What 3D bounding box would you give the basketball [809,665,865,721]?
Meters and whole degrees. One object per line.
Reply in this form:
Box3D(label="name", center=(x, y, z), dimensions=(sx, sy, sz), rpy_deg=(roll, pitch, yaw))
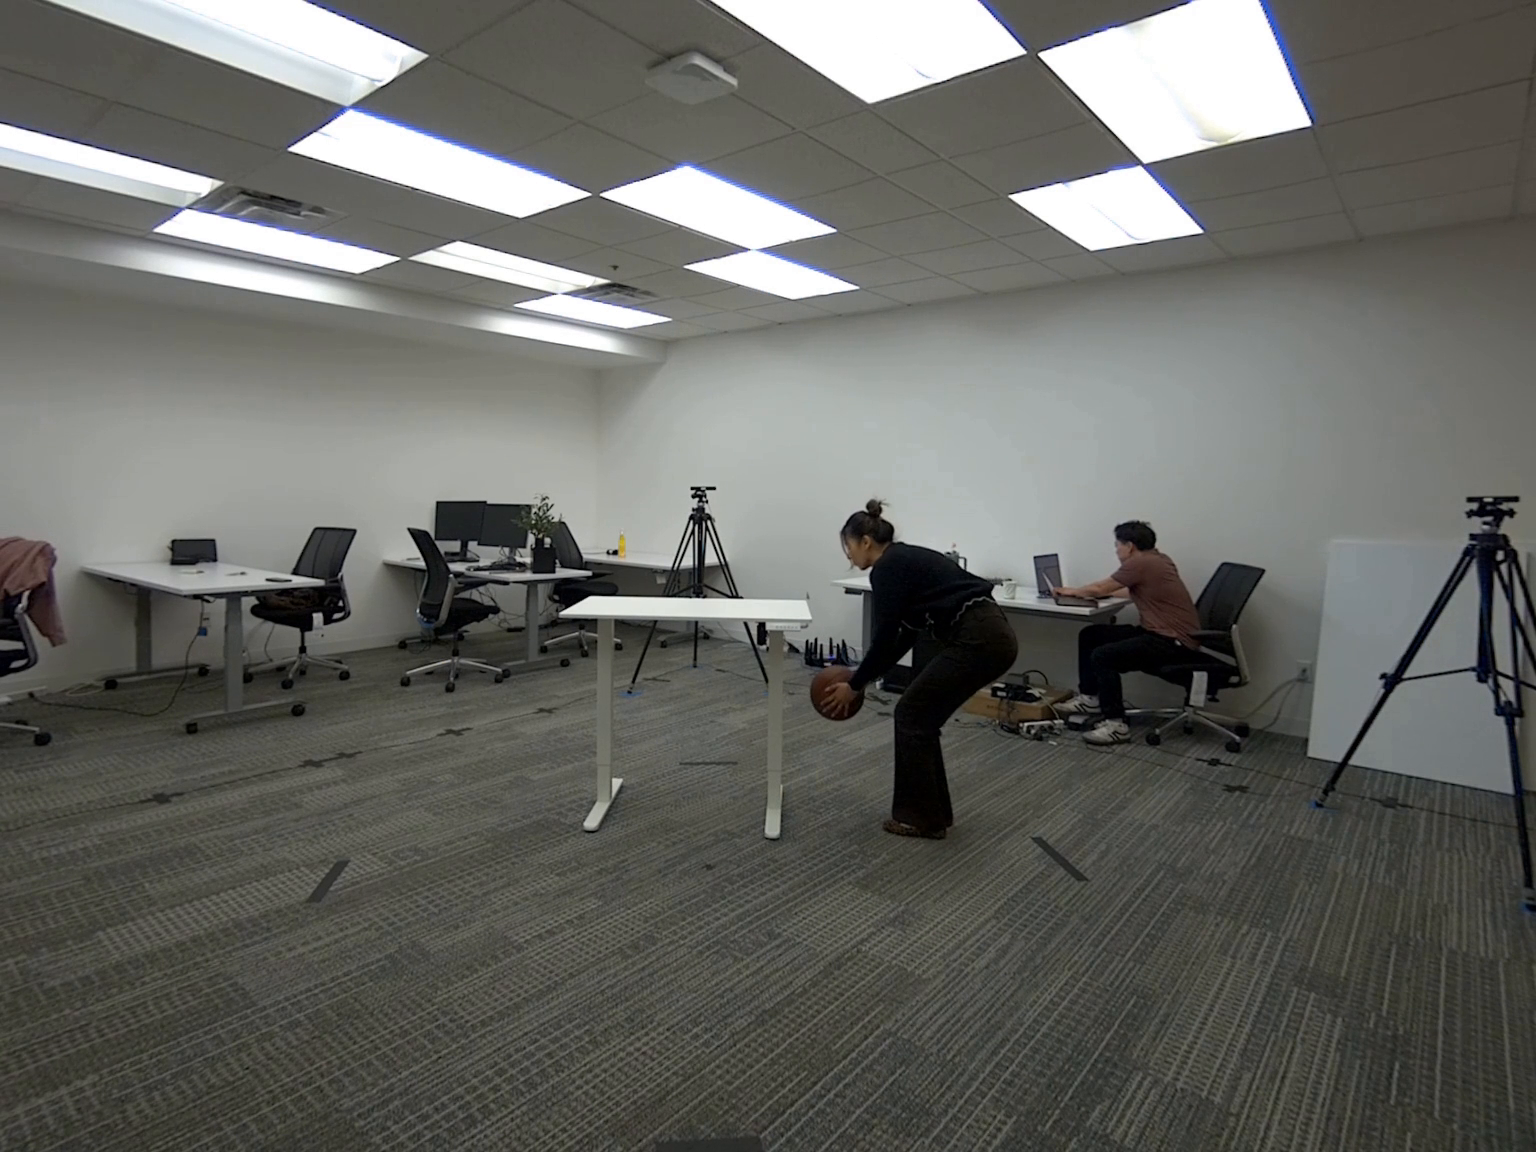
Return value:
Box3D(label="basketball", center=(0.290, 0.504, 3.680), dimensions=(0.235, 0.235, 0.237), rpy_deg=(1, 4, -2))
